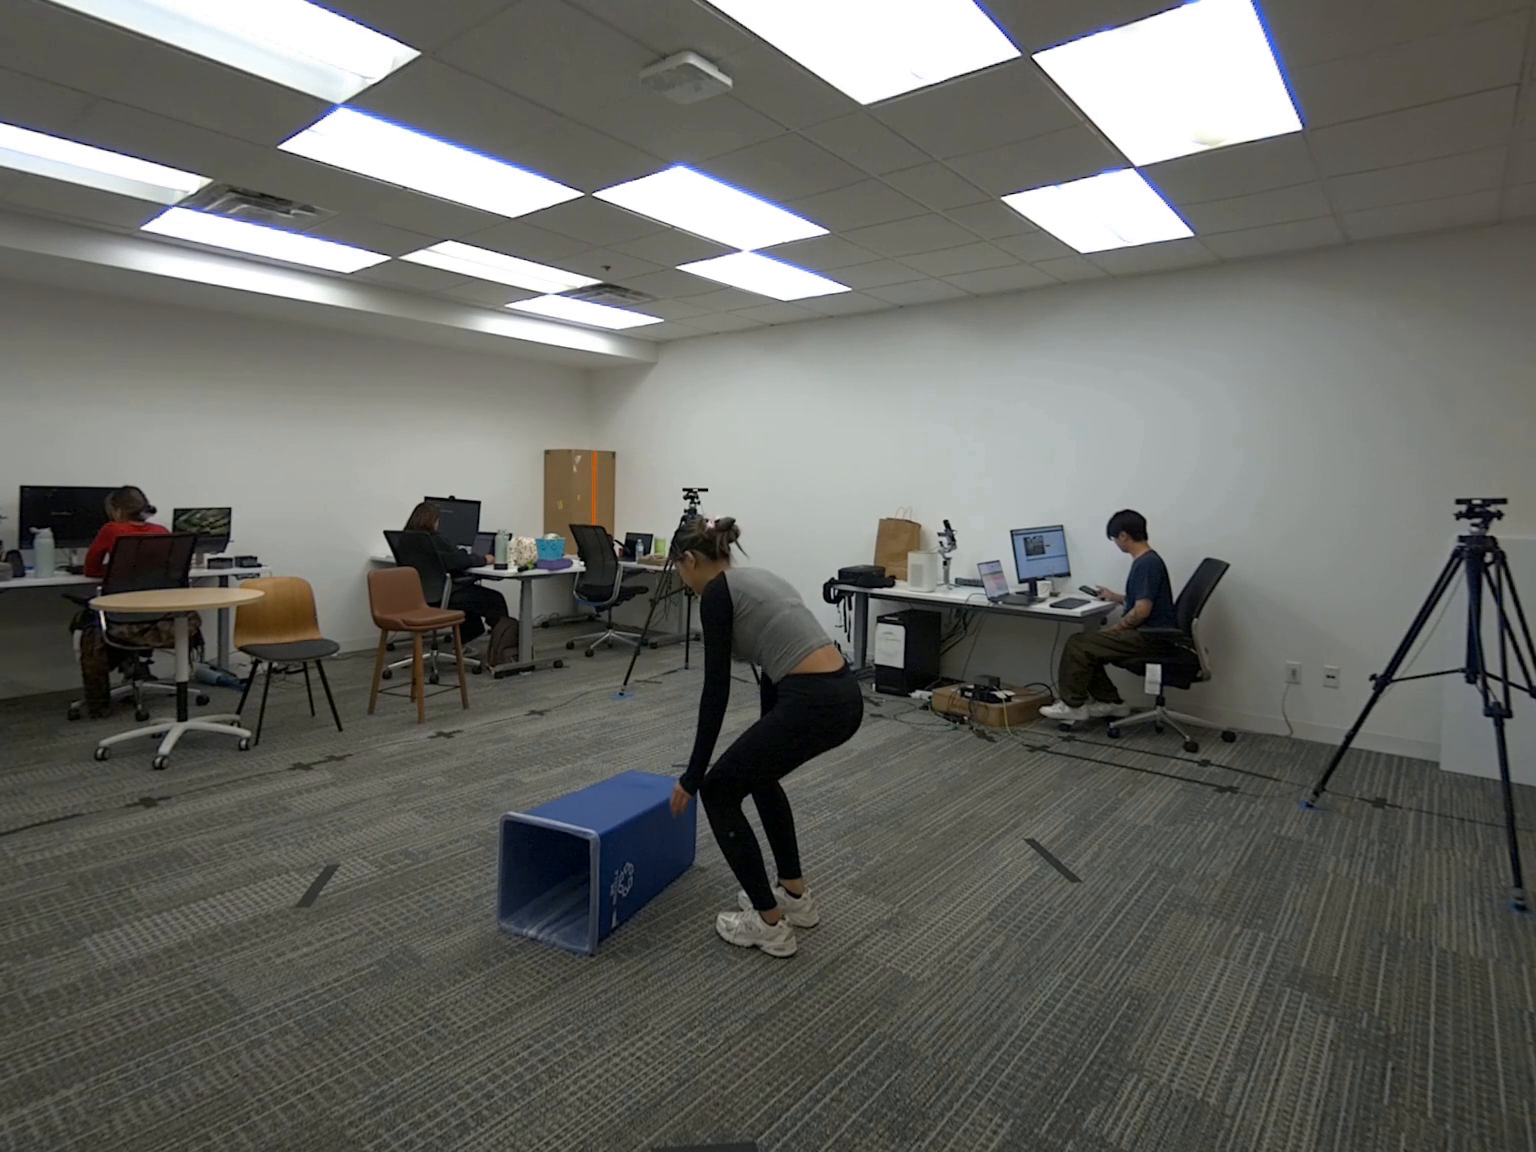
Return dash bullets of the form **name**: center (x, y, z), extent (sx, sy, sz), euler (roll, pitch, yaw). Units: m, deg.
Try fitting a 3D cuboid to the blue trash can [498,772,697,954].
- **blue trash can**: center (-0.546, 0.913, 2.901), extent (0.384, 0.377, 0.697), euler (2, 3, 25)
